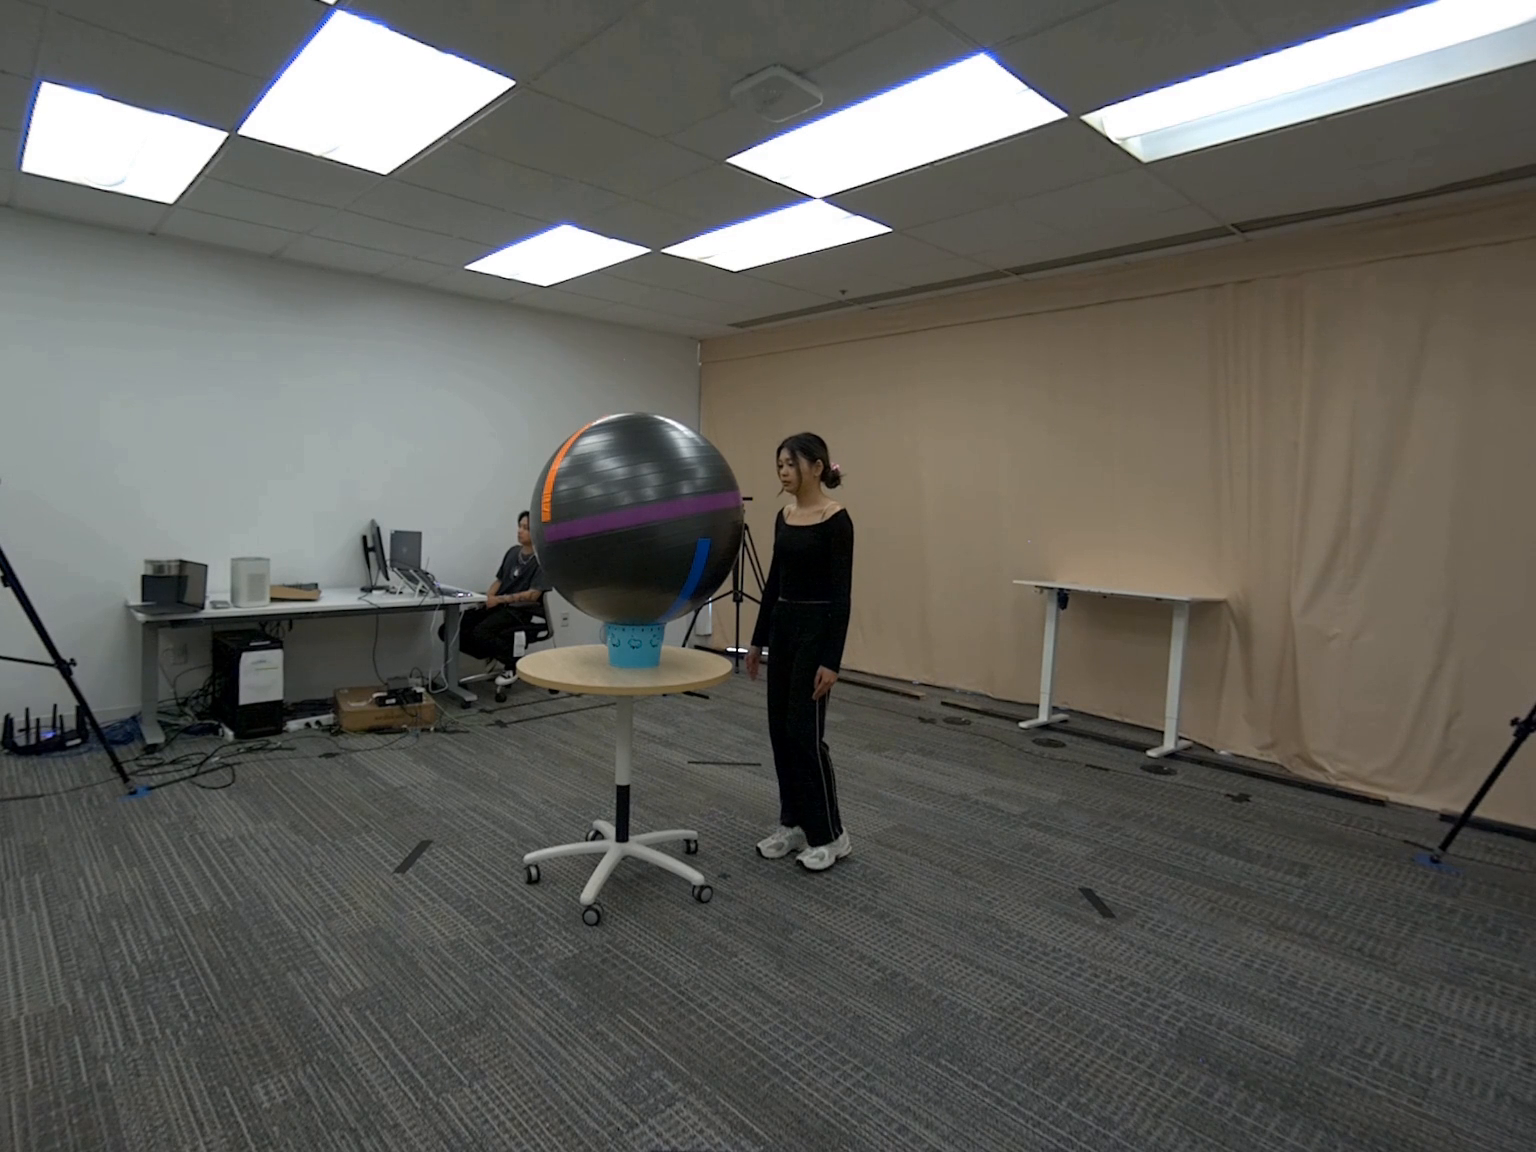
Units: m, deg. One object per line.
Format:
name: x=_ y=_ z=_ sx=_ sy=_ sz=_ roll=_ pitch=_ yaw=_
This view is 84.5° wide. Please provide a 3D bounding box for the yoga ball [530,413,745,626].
yoga ball: x=-0.472 y=-0.192 z=3.009 sx=0.757 sy=0.756 sz=0.761 roll=1 pitch=4 yaw=-1
